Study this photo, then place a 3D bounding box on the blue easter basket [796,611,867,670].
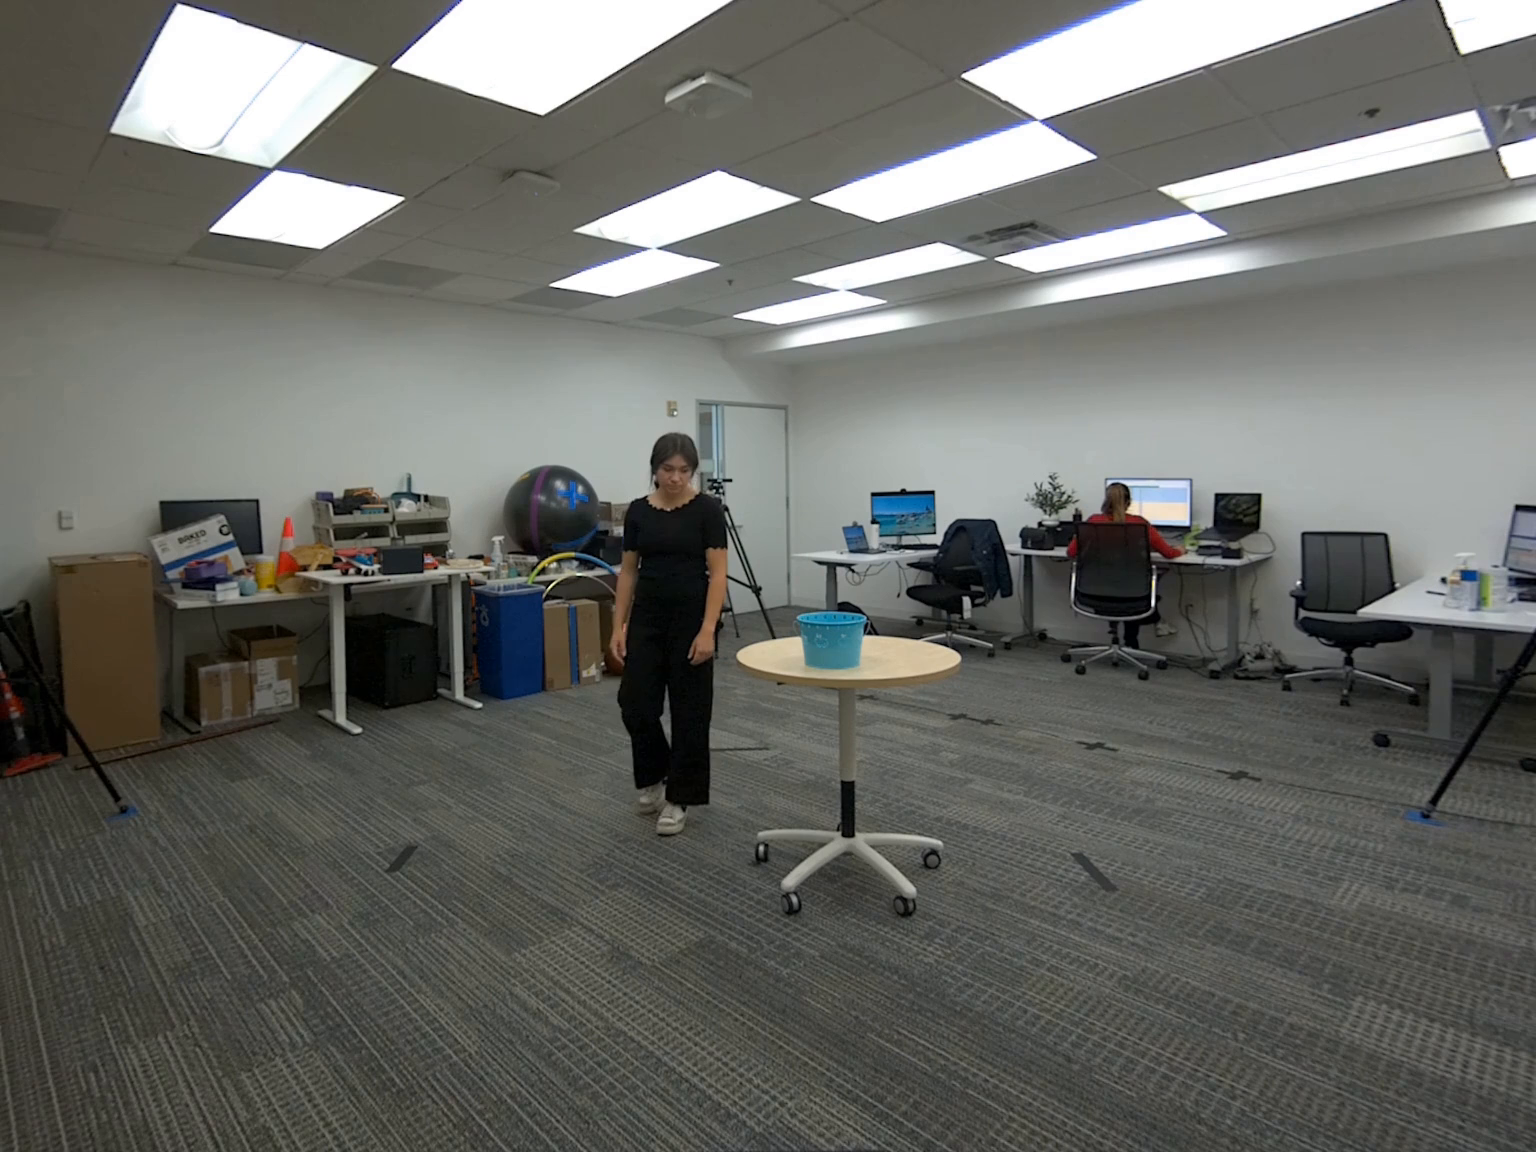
[{"bbox_3d":[0.226,0.216,2.816,0.243,0.155,0.245,-3,5,-1],"label":"blue easter basket"}]
